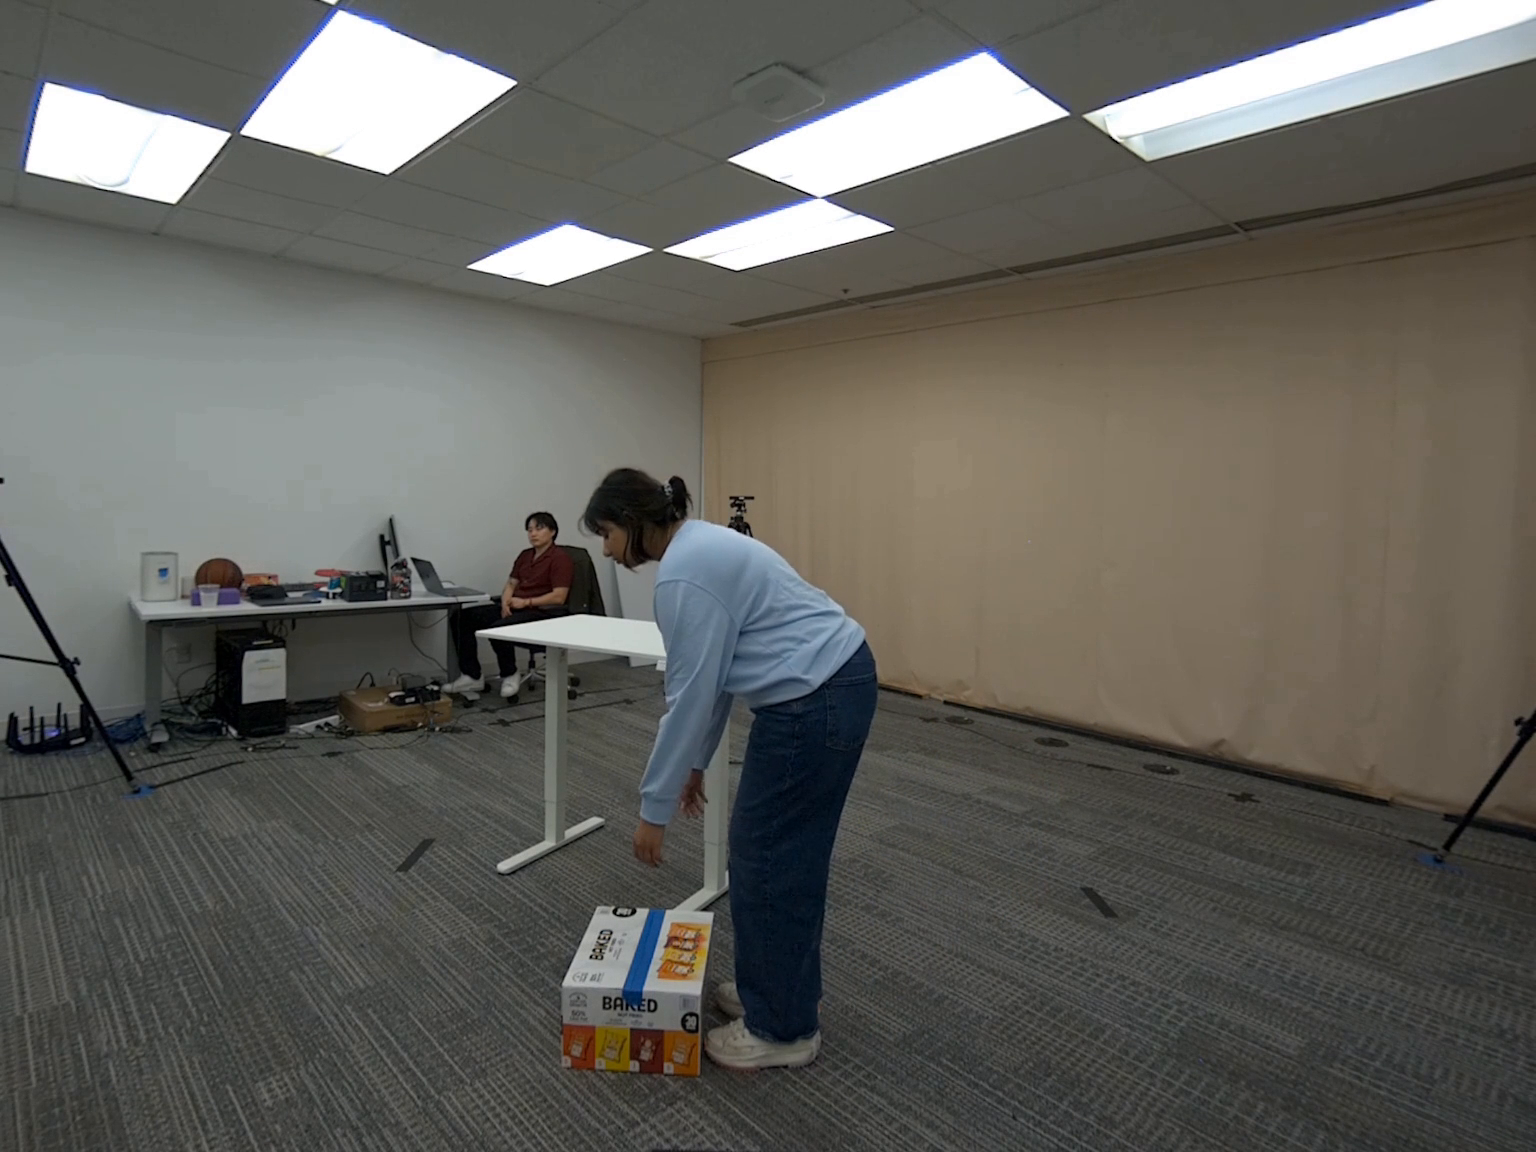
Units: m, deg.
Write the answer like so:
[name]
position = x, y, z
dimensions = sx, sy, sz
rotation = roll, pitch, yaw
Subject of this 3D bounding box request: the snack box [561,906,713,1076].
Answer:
[snack box]
position = -0.329, 1.074, 2.230
dimensions = 0.341, 0.205, 0.405
rotation = 2, 5, 2
